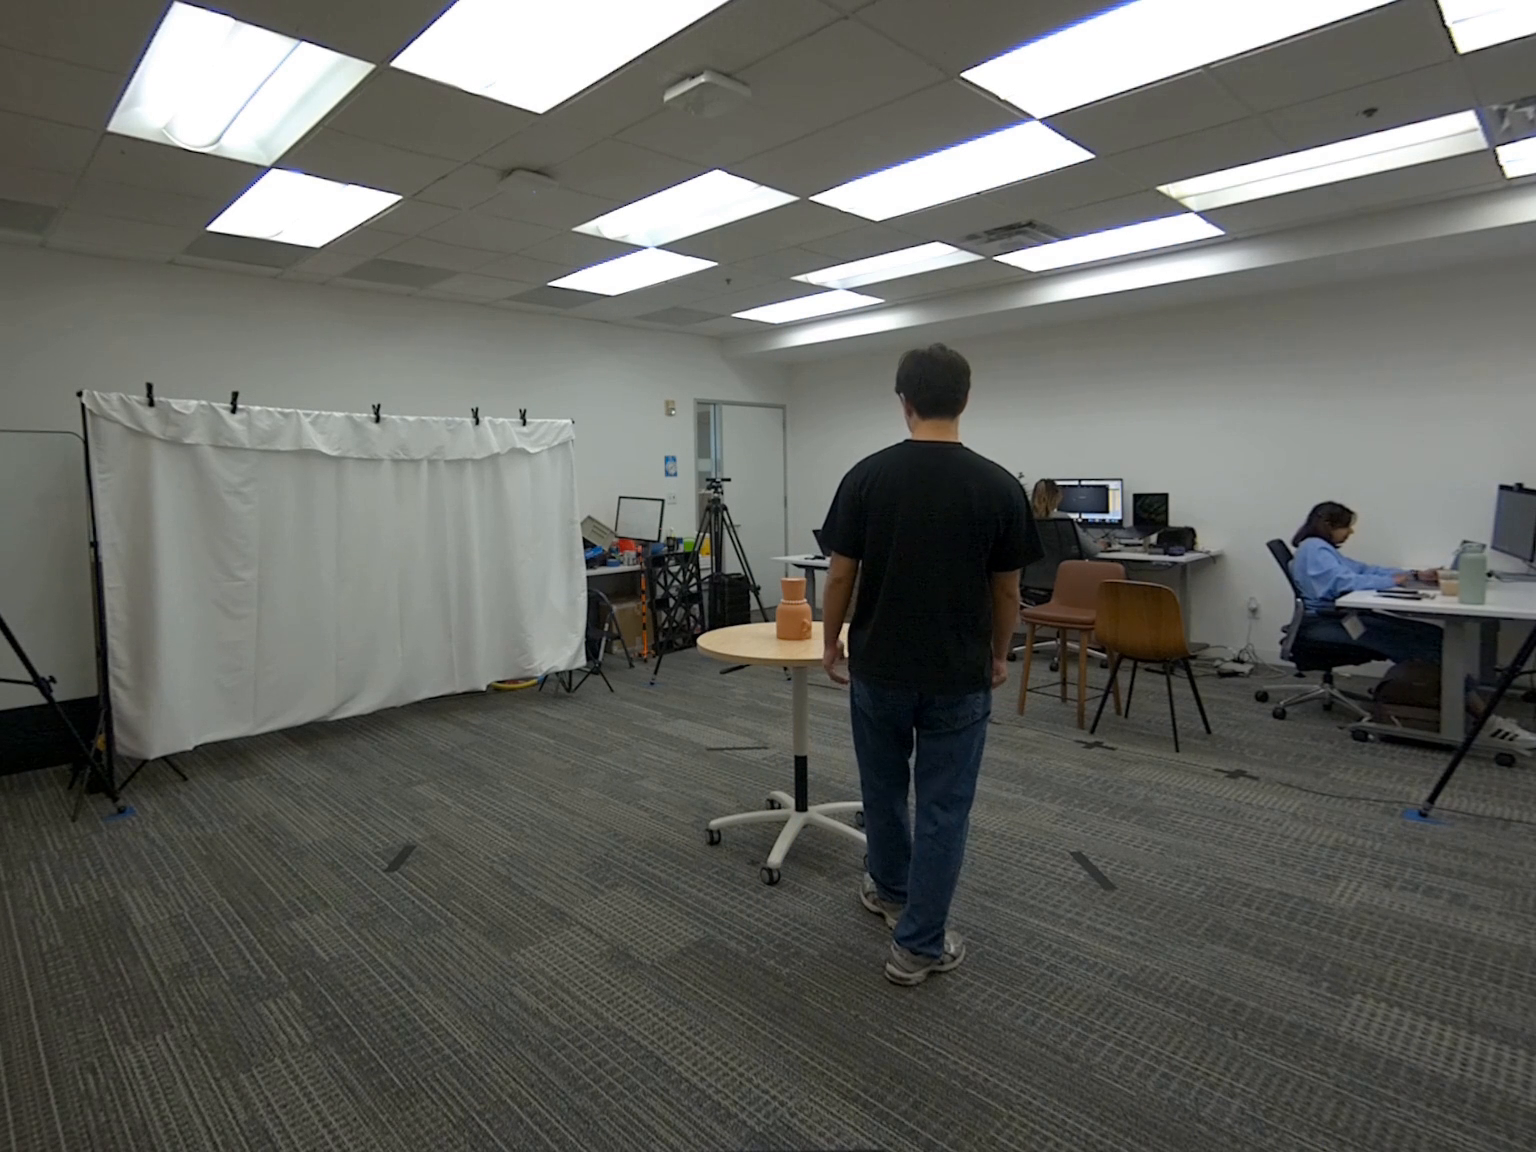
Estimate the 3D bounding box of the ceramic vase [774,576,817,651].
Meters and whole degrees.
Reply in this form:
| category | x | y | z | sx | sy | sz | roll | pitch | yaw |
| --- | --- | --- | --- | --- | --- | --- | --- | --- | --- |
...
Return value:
| category | x | y | z | sx | sy | sz | roll | pitch | yaw |
| --- | --- | --- | --- | --- | --- | --- | --- | --- | --- |
| ceramic vase | 0.101 | 0.121 | 3.208 | 0.162 | 0.219 | 0.133 | 2 | 5 | 17 |
